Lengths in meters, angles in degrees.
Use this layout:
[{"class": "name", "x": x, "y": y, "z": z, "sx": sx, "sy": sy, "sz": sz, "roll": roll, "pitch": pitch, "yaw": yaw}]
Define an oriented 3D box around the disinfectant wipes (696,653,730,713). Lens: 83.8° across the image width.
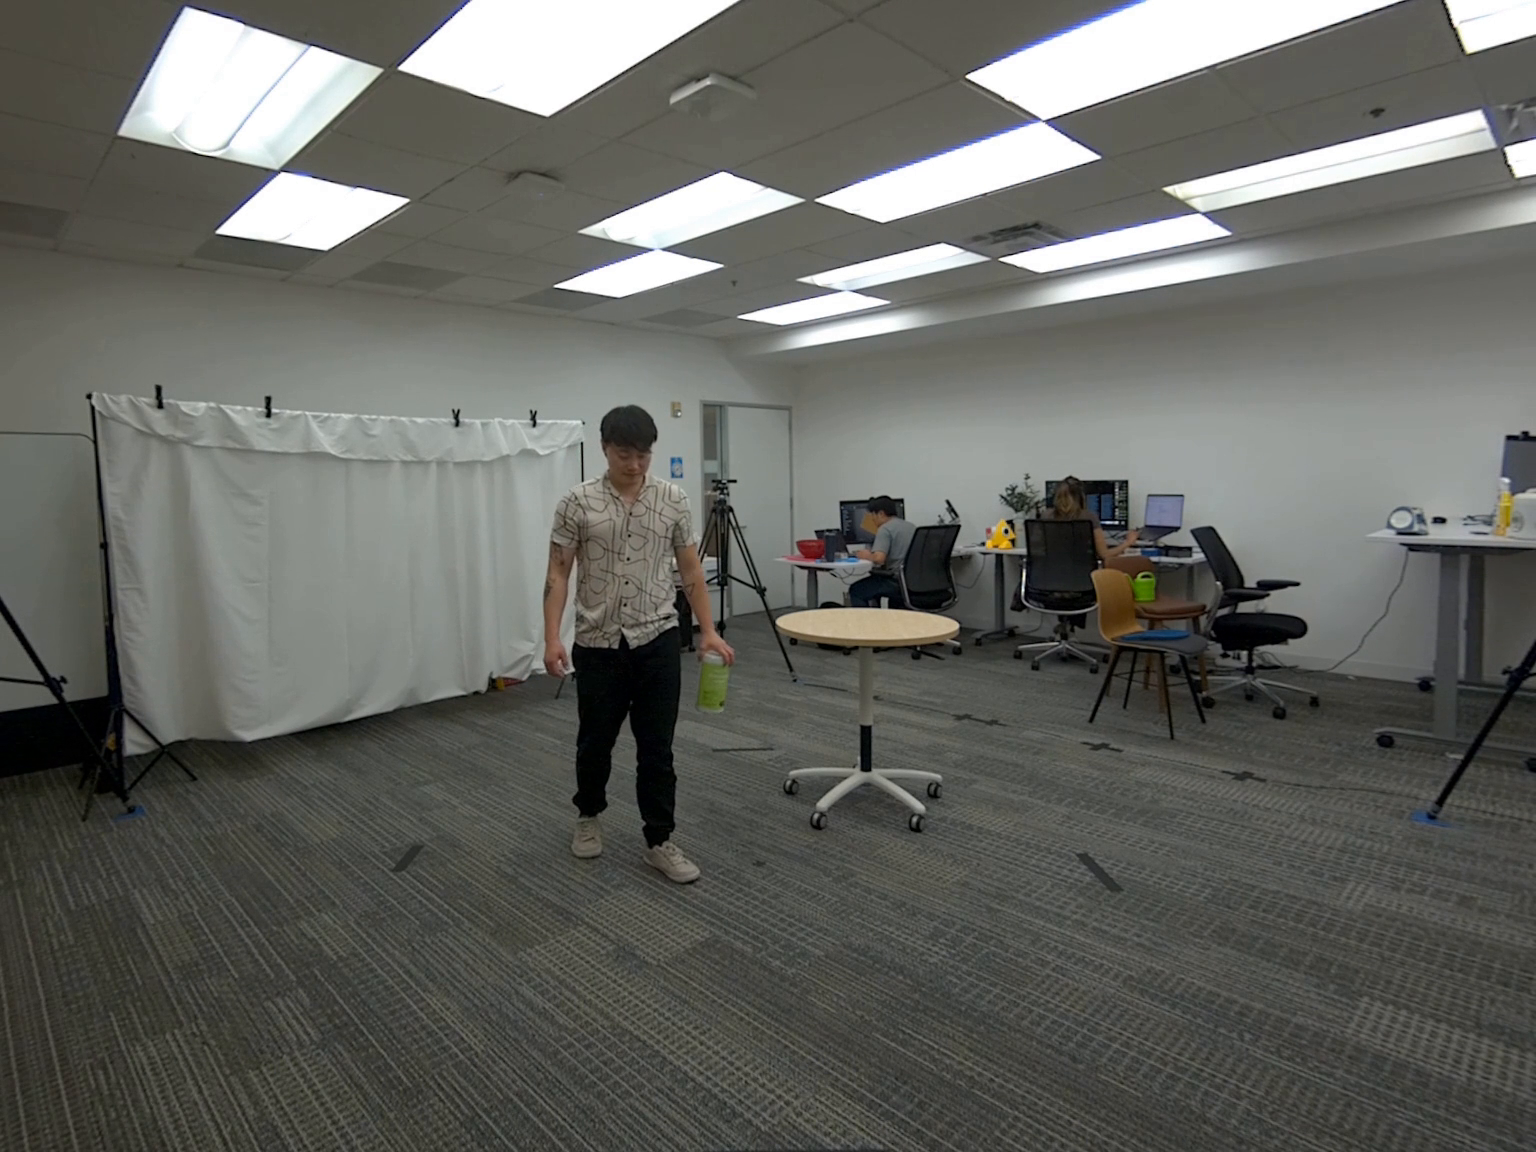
[{"class": "disinfectant wipes", "x": -0.209, "y": 0.386, "z": 3.123, "sx": 0.117, "sy": 0.216, "sz": 0.119, "roll": 7, "pitch": 8, "yaw": -3}]
